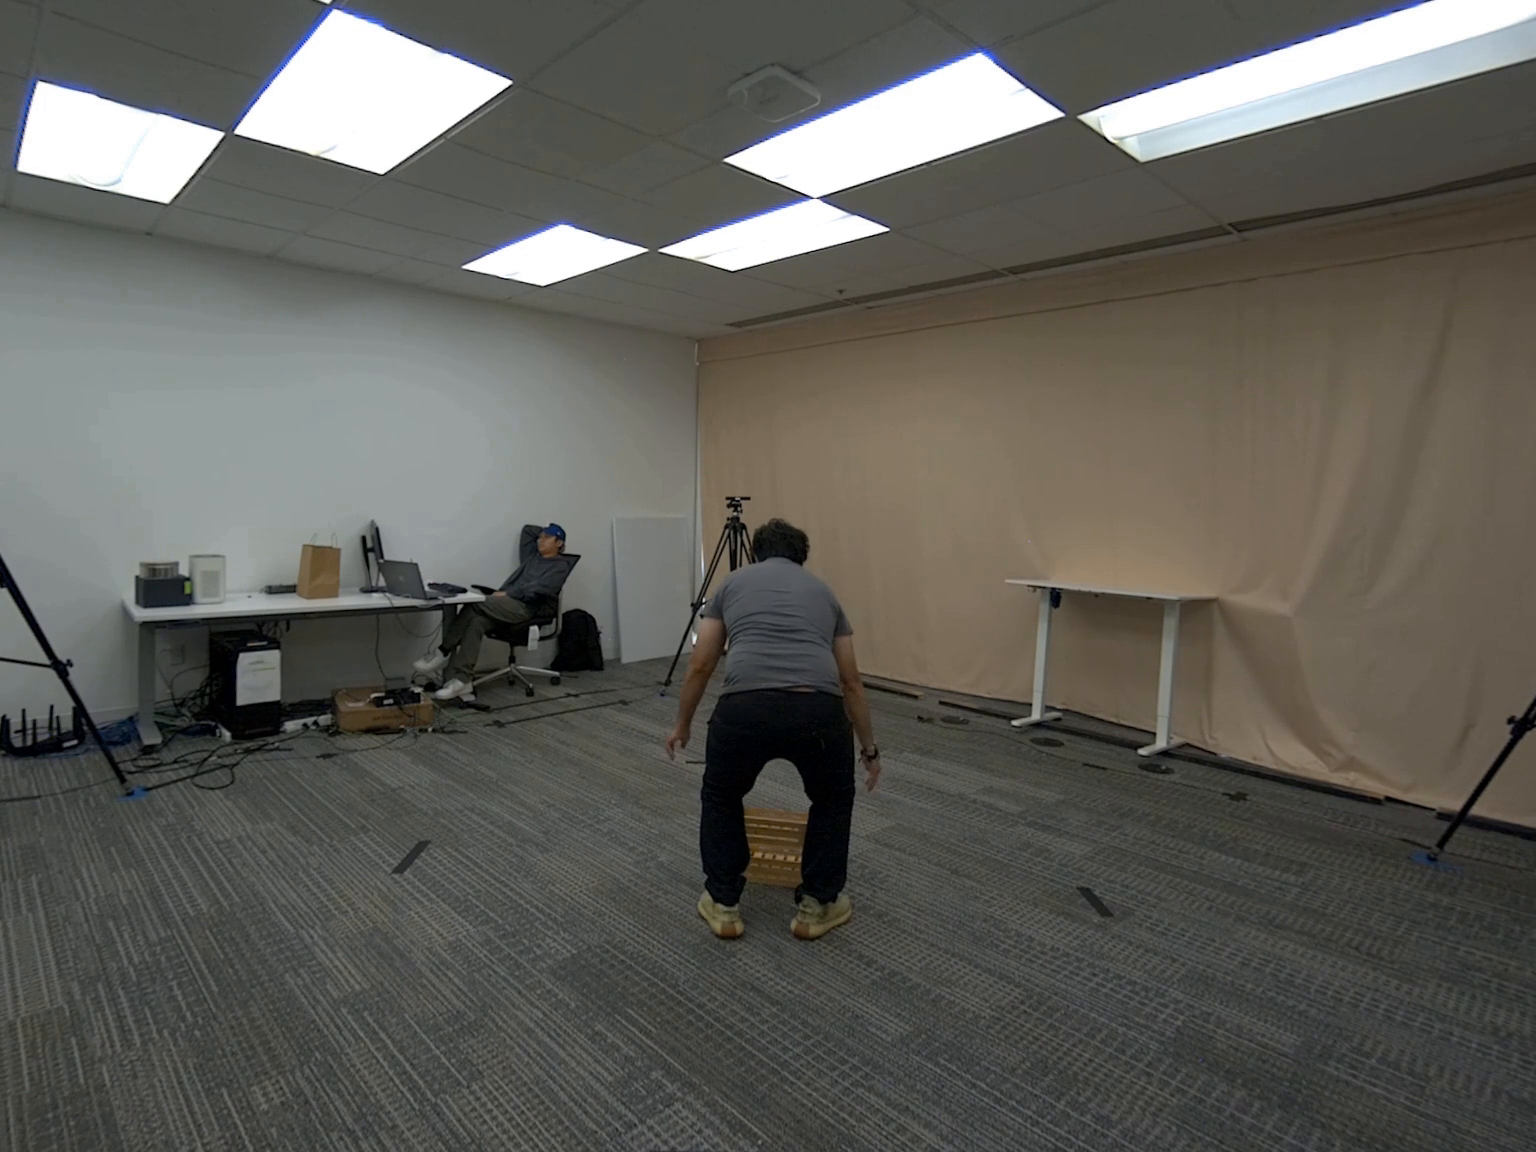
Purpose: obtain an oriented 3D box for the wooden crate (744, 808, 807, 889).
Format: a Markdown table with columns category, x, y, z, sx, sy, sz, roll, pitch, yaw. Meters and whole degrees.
| category | x | y | z | sx | sy | sz | roll | pitch | yaw |
| --- | --- | --- | --- | --- | --- | --- | --- | --- | --- |
| wooden crate | 0.027 | 0.983 | 3.135 | 0.327 | 0.272 | 0.300 | 2 | 5 | 10 |
